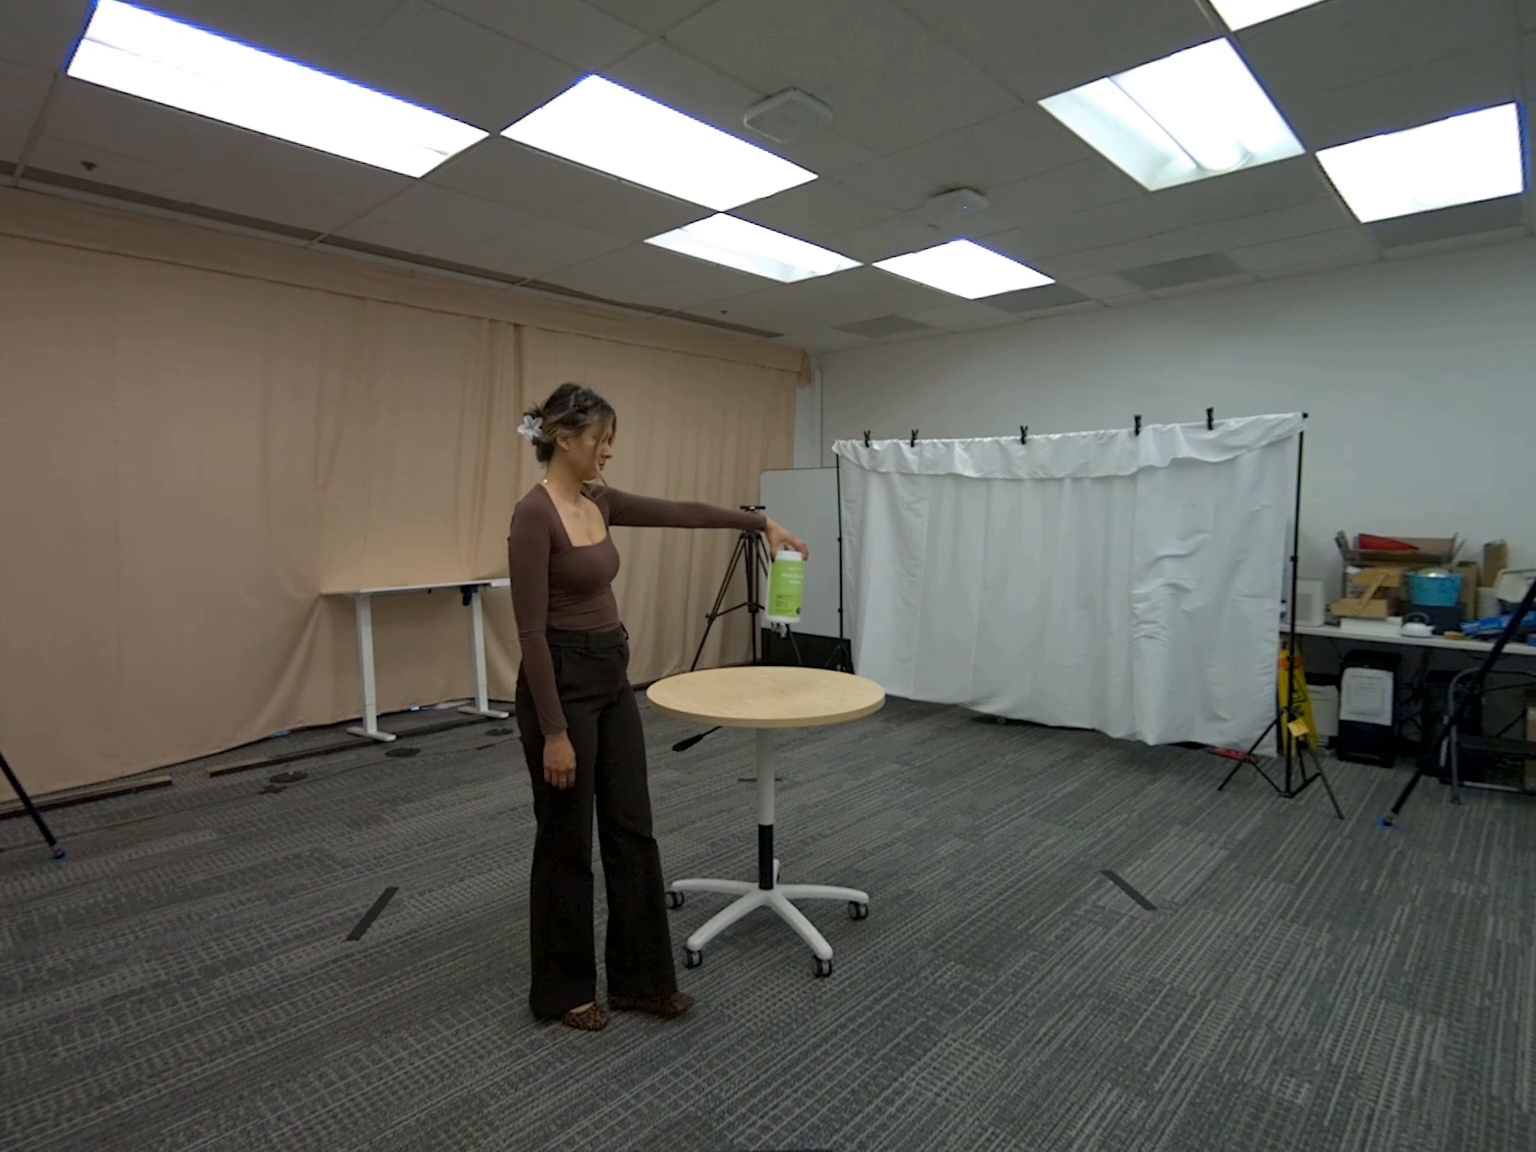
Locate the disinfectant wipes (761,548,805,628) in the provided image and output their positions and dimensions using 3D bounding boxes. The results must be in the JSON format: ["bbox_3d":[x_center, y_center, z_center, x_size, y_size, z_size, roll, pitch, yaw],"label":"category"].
[{"bbox_3d":[0.055,0.035,2.543,0.117,0.217,0.118,3,2,-2],"label":"disinfectant wipes"}]
